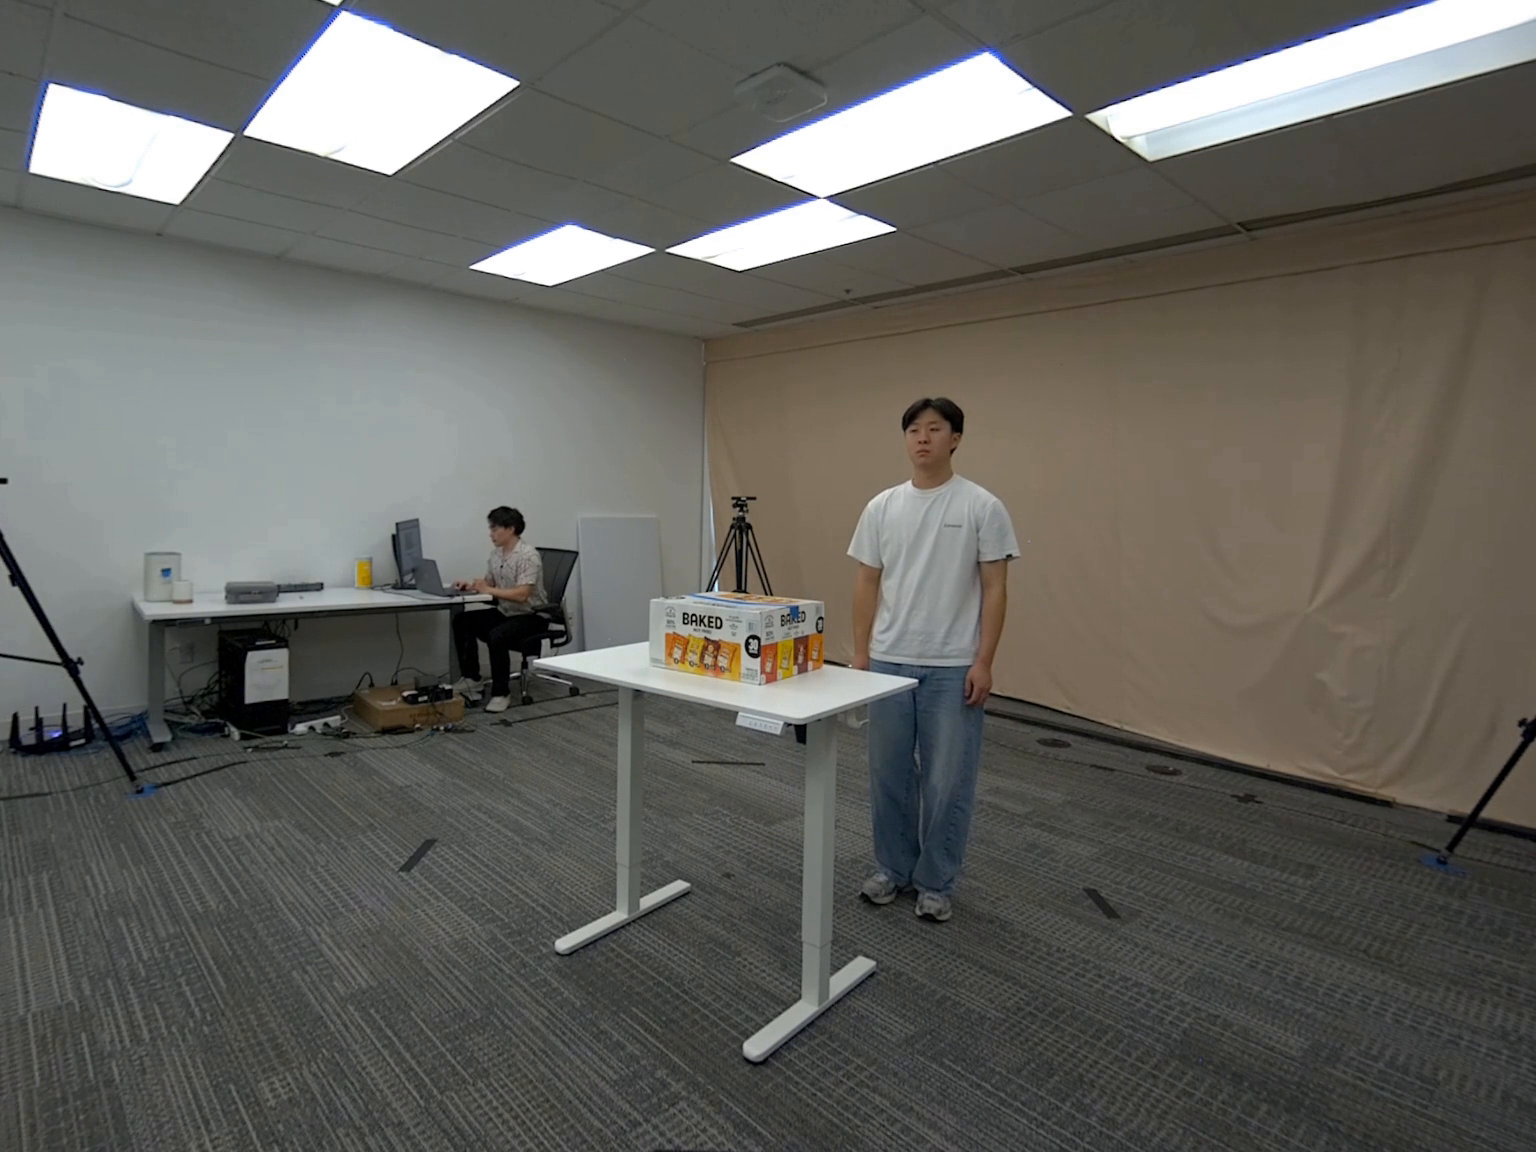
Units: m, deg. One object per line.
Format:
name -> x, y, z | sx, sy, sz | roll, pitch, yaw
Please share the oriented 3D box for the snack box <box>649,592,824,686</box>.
snack box -> -0.098, 0.177, 2.538 | 0.415, 0.205, 0.333 | 5, 5, 35
